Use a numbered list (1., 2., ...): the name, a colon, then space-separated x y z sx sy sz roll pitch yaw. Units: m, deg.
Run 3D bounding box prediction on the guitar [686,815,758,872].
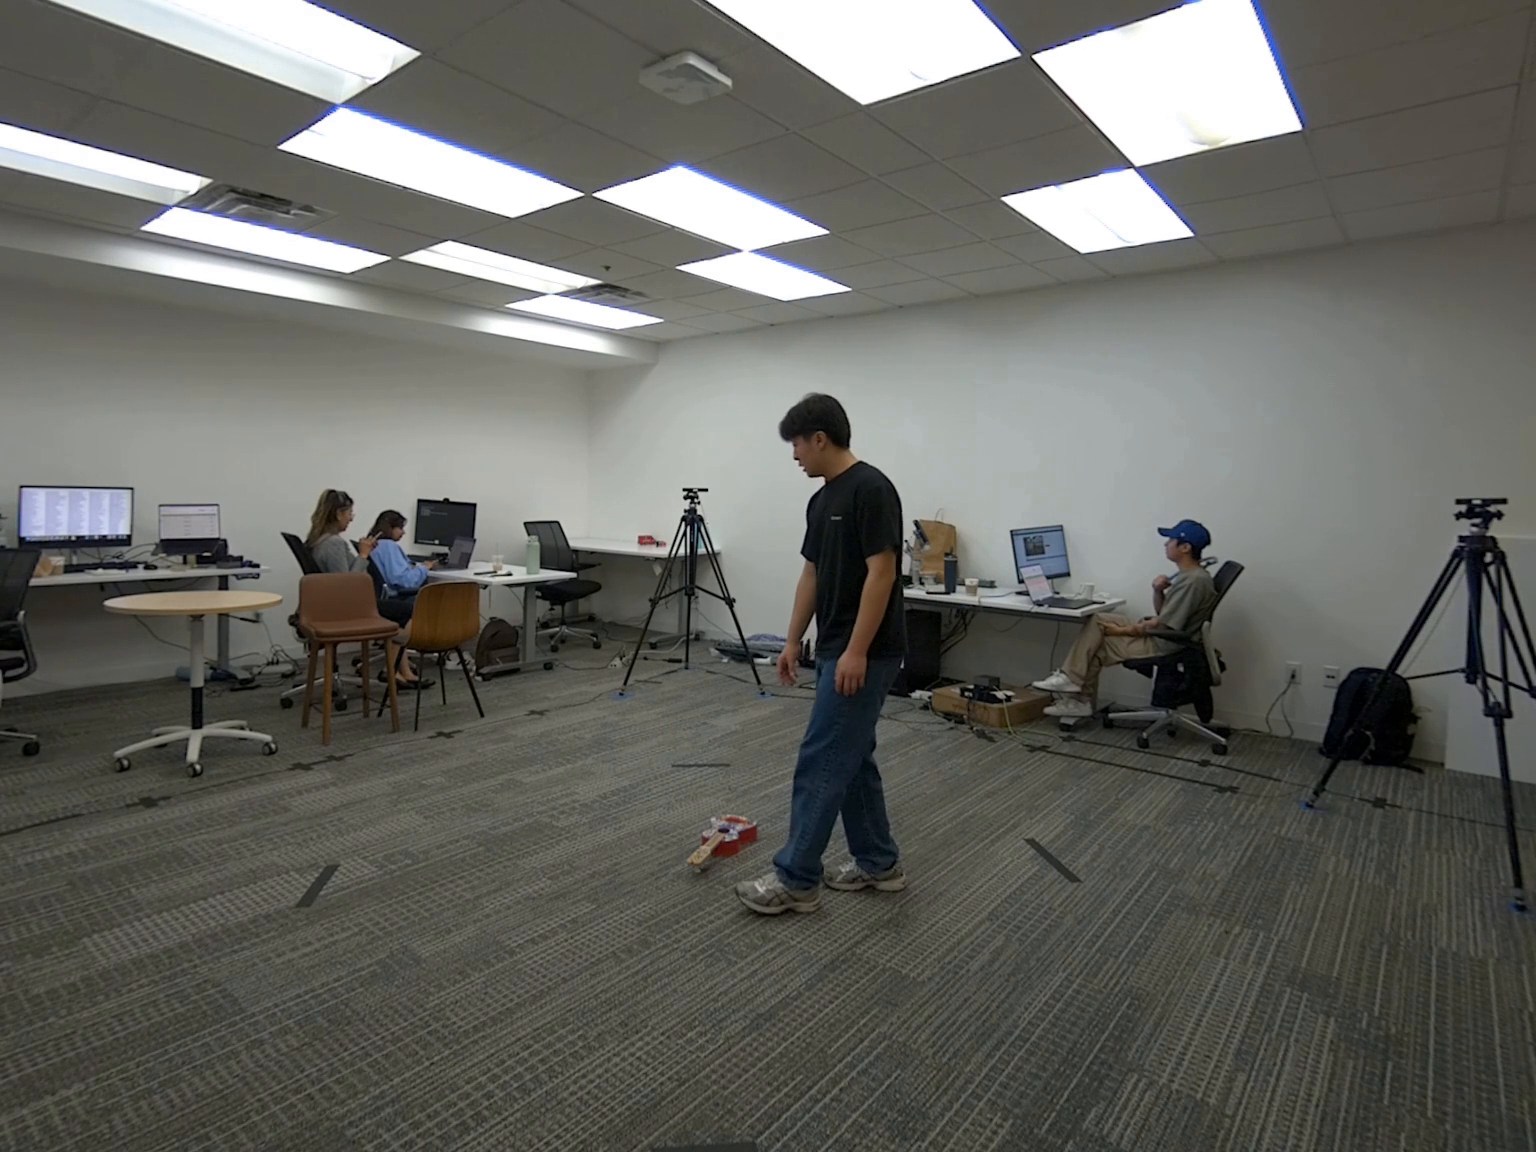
1. guitar: -0.229 1.023 3.264 0.198 0.070 0.485 3 6 28
